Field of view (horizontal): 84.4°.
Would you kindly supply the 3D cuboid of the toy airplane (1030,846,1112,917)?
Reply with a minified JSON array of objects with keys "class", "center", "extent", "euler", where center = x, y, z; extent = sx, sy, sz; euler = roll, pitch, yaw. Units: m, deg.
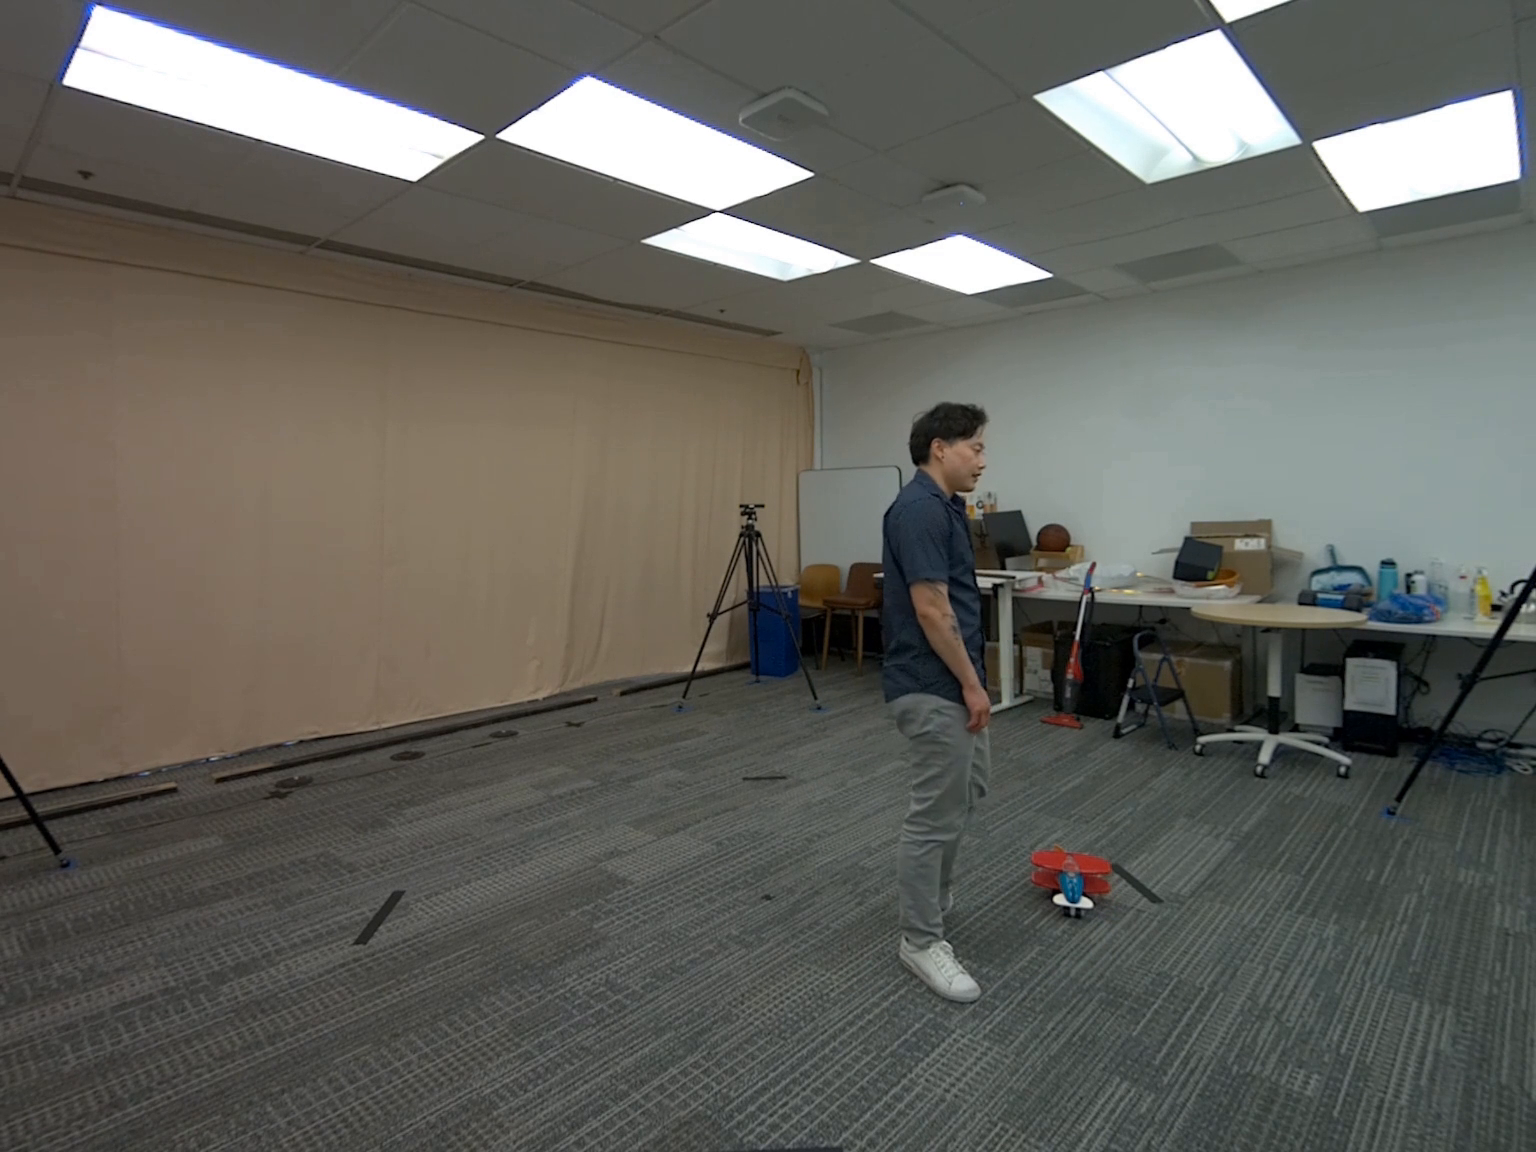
[{"class":"toy airplane","center":[1.066,1.055,2.888],"extent":[0.248,0.156,0.263],"euler":[-1,3,-12]}]
